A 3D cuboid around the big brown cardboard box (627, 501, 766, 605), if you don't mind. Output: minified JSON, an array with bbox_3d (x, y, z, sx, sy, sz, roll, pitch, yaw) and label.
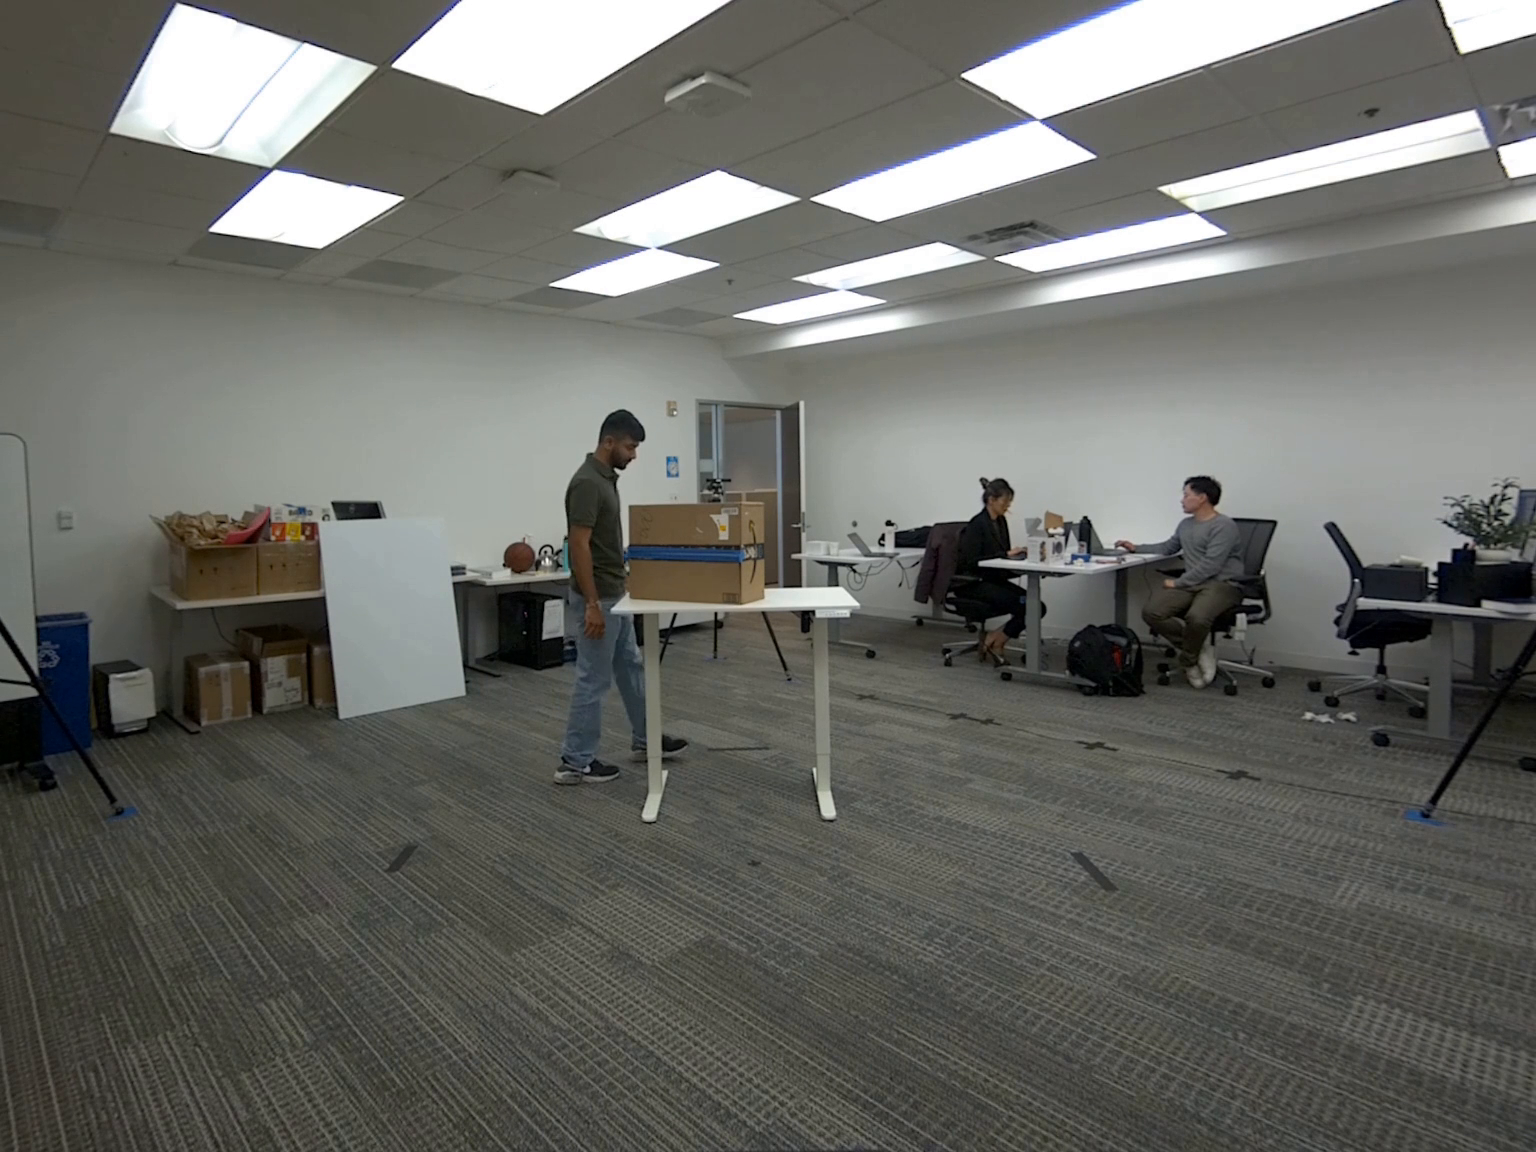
[{"bbox_3d":[-0.310,-0.106,3.709,0.604,0.416,0.228,1,3,30],"label":"big brown cardboard box"}]
